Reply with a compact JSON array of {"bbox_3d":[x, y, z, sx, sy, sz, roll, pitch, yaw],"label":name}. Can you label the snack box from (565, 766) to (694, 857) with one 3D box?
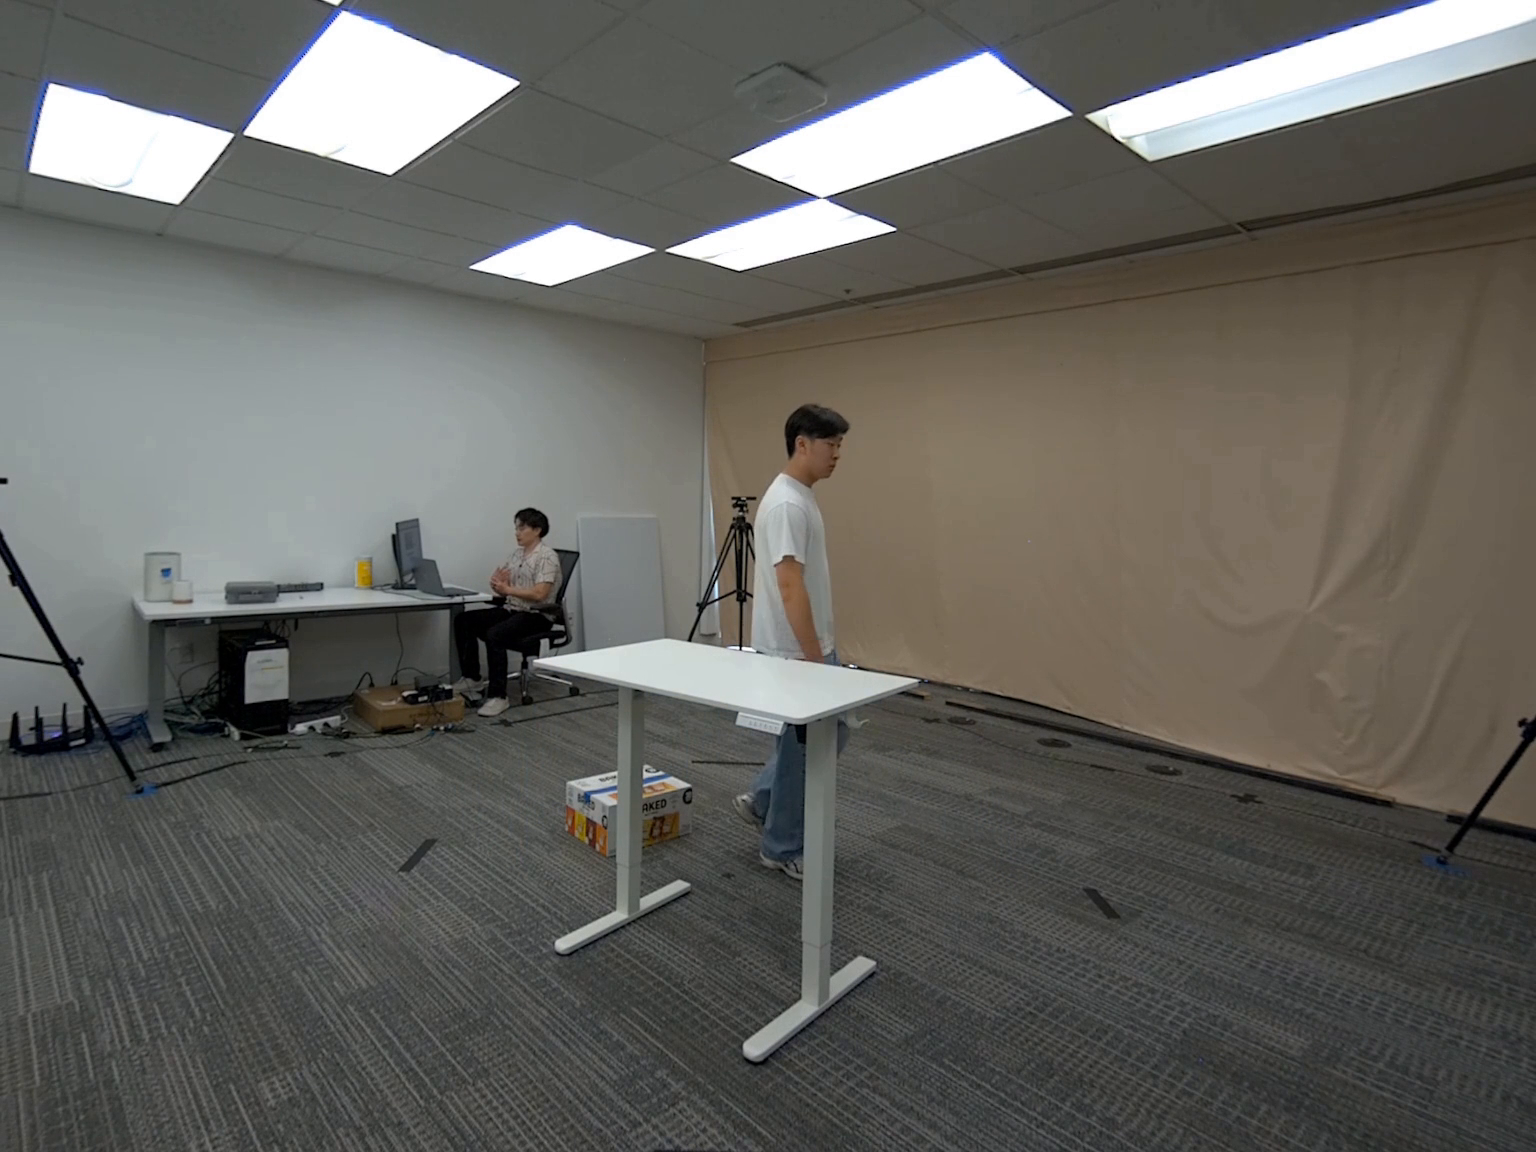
[{"bbox_3d":[-0.581,0.959,3.483,0.396,0.205,0.349,-3,6,-40],"label":"snack box"}]
